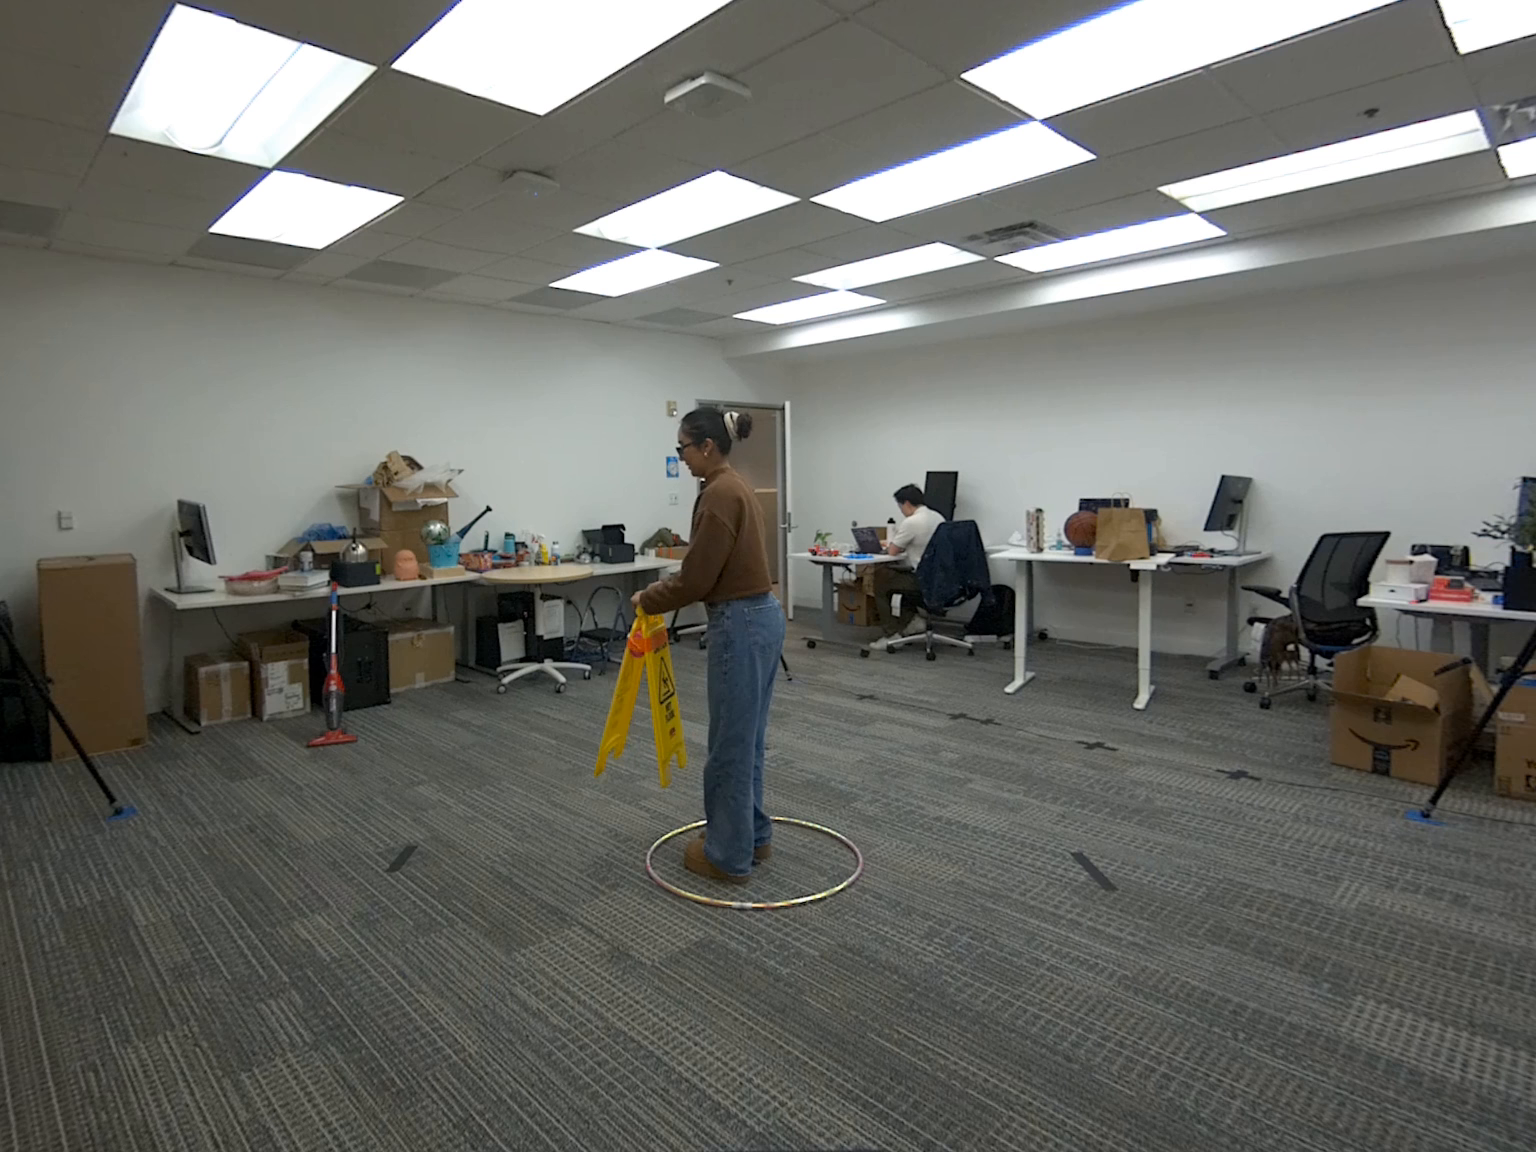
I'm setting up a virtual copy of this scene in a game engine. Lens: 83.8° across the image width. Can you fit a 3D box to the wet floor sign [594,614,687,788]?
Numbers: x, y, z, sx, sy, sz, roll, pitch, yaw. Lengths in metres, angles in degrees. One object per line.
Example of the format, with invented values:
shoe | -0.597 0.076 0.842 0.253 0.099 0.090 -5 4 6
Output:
wet floor sign | -0.449 0.408 3.147 0.293 0.644 0.280 4 4 12
